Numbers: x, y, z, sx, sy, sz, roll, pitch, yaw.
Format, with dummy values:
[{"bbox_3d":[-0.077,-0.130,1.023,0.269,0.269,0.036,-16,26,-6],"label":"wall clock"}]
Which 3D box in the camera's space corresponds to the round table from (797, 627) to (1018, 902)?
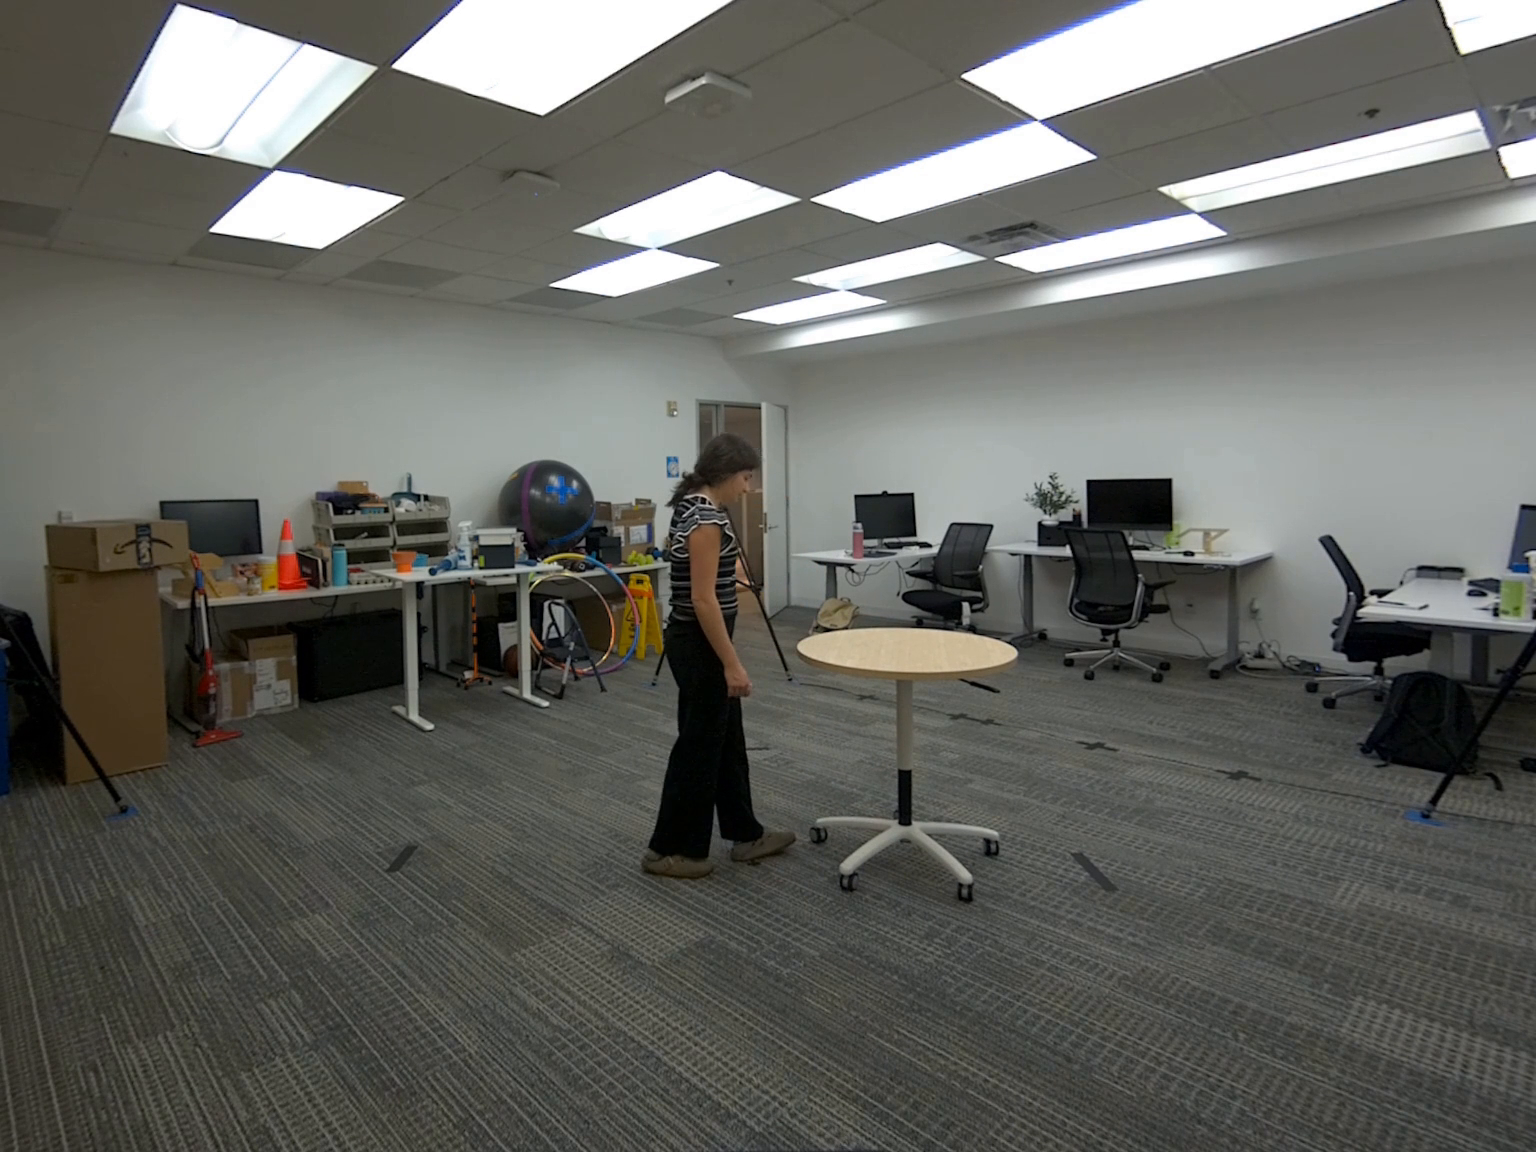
[{"bbox_3d":[0.477,0.641,3.075,0.784,0.784,0.789,-1,5,-2],"label":"round table"}]
